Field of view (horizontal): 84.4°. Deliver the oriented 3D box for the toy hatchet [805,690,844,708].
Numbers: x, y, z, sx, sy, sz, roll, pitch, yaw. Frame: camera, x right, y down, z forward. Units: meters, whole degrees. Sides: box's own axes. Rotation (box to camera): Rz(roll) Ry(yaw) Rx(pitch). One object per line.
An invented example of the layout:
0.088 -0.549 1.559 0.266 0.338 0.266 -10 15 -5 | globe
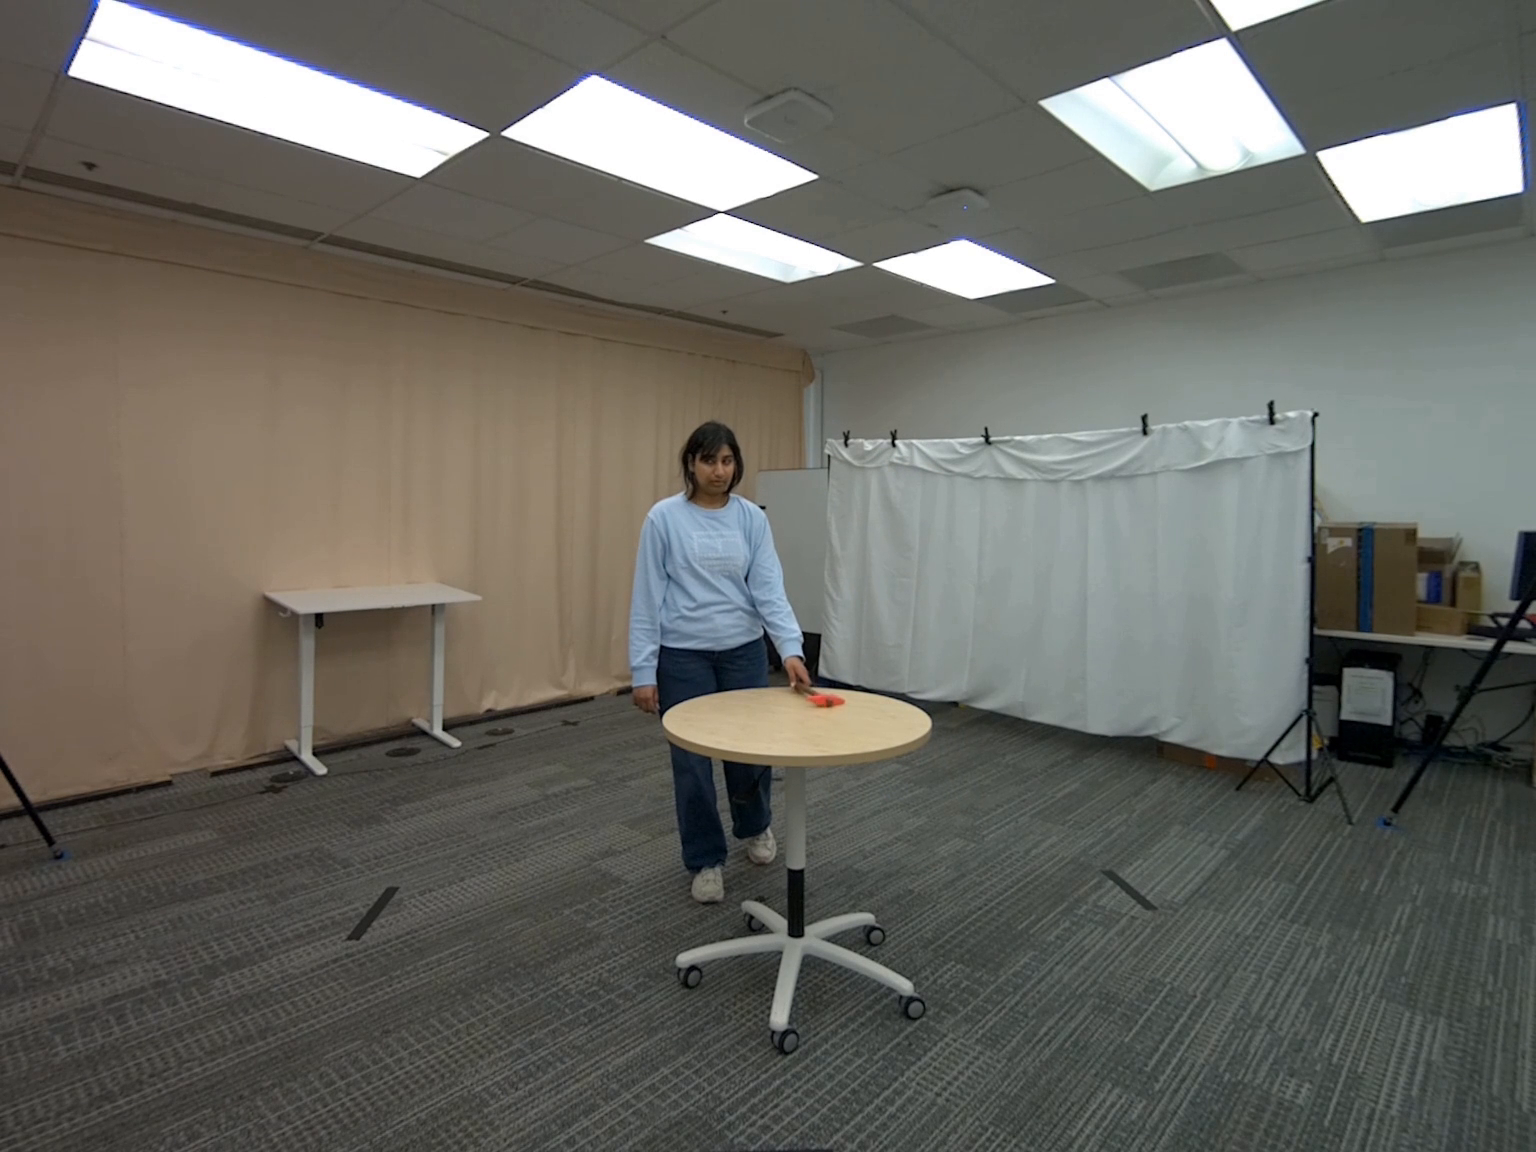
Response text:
0.168 0.363 2.653 0.130 0.029 0.272 7 4 -6 | toy hatchet
